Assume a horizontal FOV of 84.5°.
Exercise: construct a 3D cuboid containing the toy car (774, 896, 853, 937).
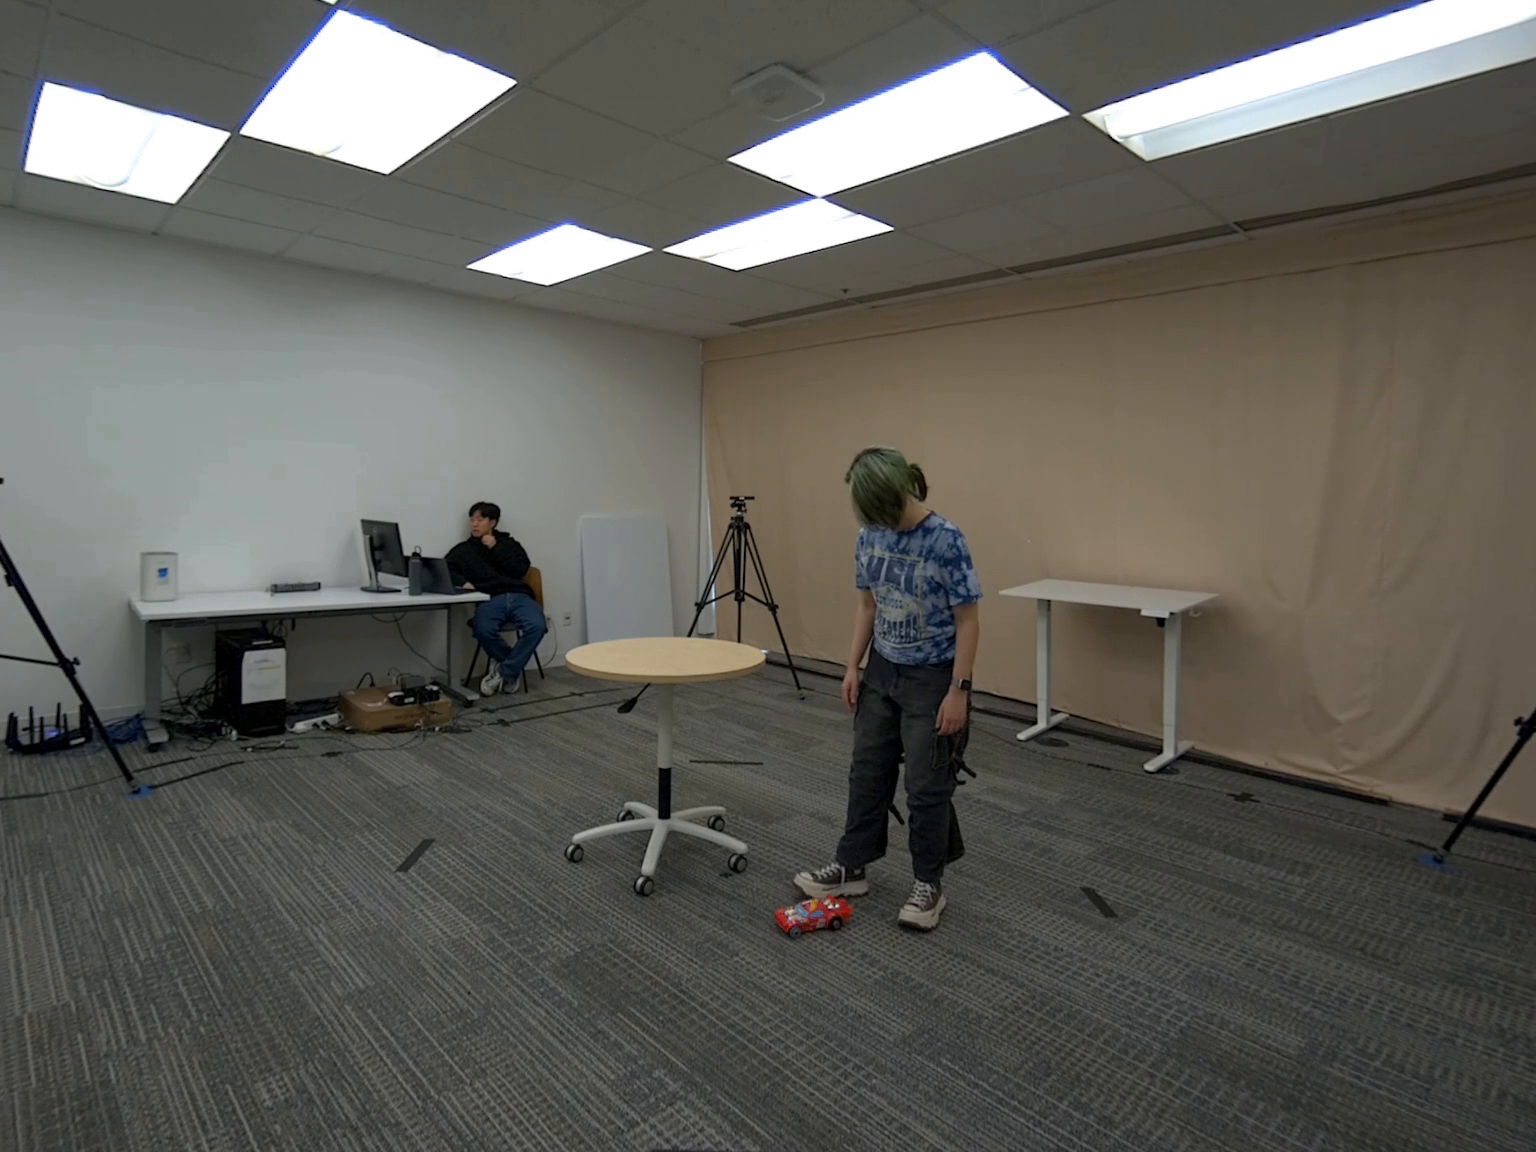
[{"bbox_3d":[0.147,1.112,2.743,0.251,0.082,0.133,-13,10,-21],"label":"toy car"}]
